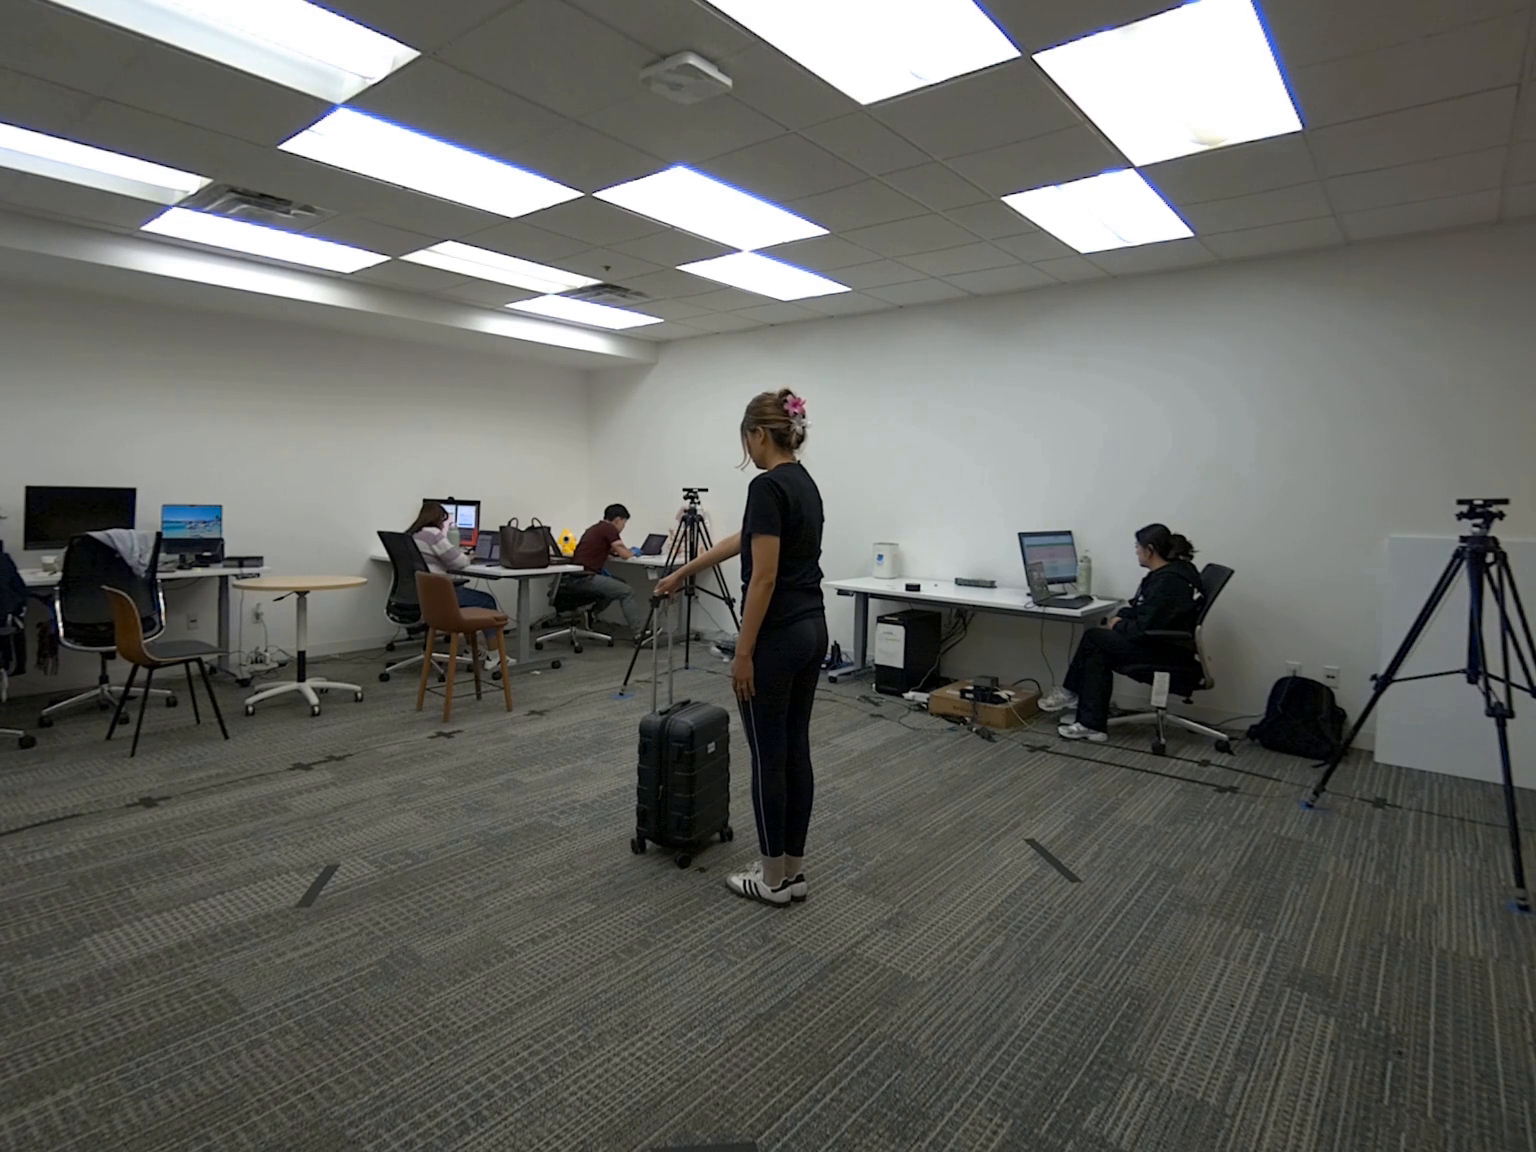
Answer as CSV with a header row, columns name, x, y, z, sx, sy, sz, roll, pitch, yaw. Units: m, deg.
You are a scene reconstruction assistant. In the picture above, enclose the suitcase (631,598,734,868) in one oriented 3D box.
name,x,y,z,sx,sy,sz,roll,pitch,yaw
suitcase,-0.326,0.572,3.296,0.264,0.976,0.375,3,3,25
